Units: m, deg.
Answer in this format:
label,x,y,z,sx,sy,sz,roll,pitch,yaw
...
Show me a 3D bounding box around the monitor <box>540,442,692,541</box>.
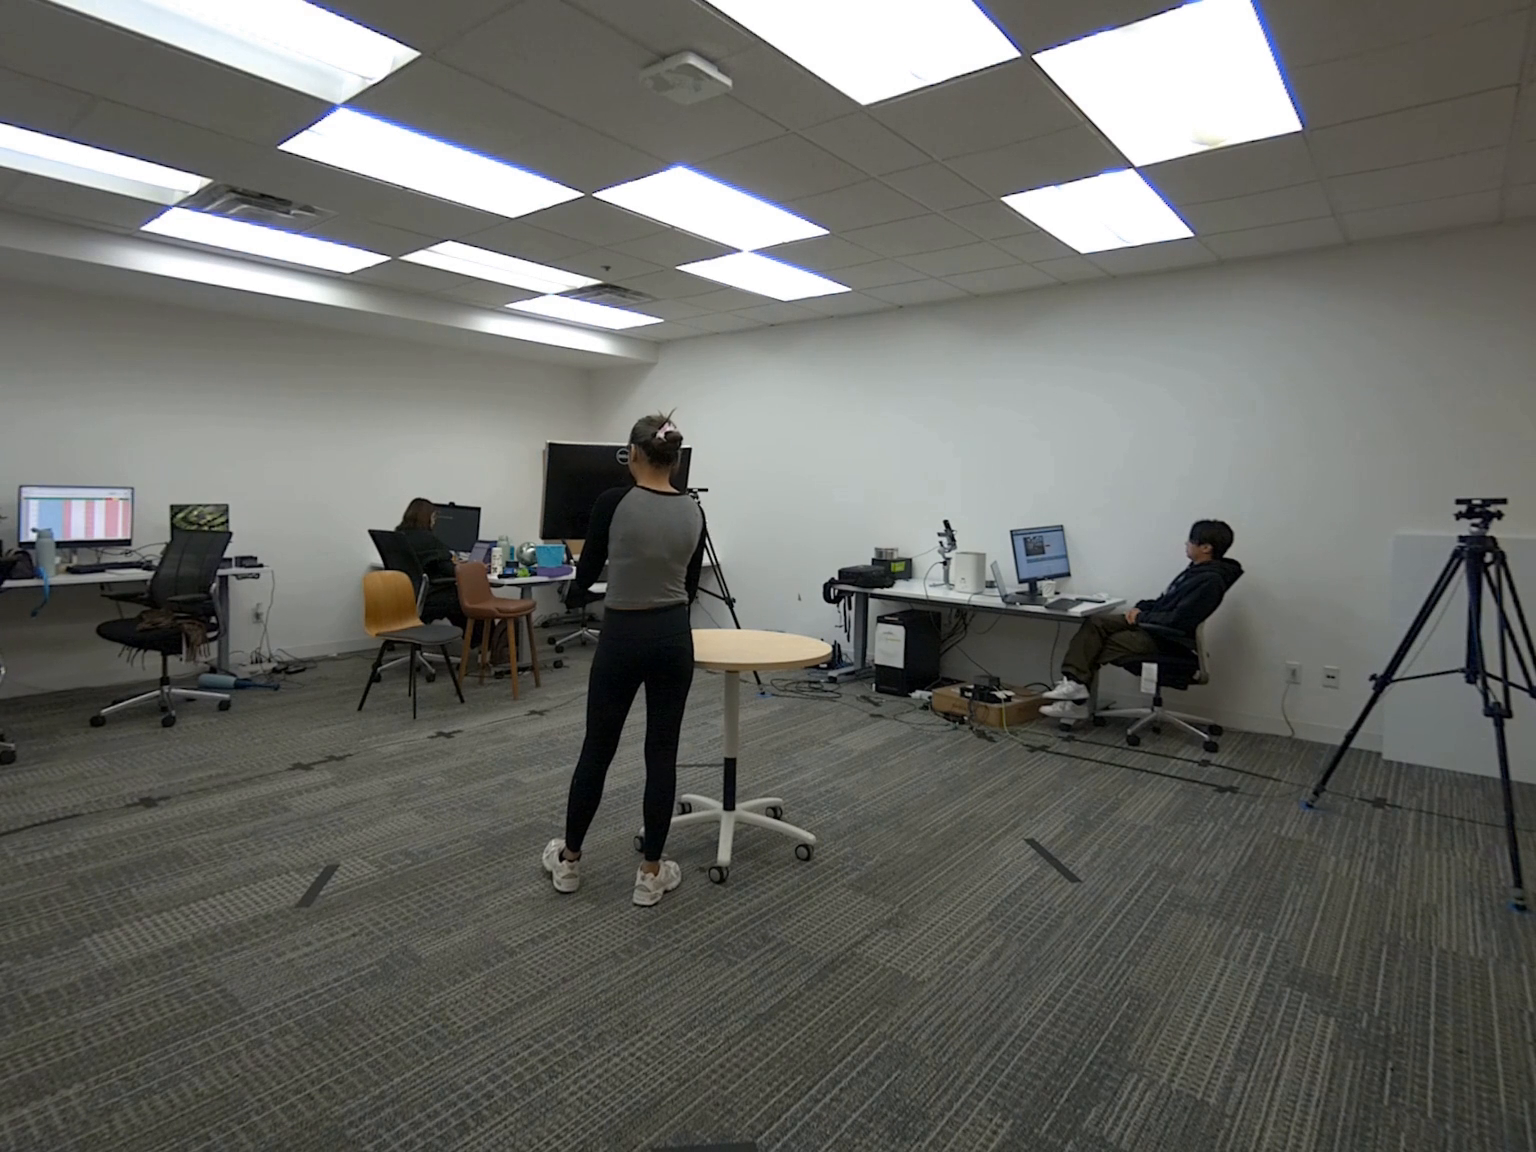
label,x,y,z,sx,sy,sz,roll,pitch,yaw
monitor,-0.558,-0.218,3.128,0.525,0.520,0.193,-1,6,-29
